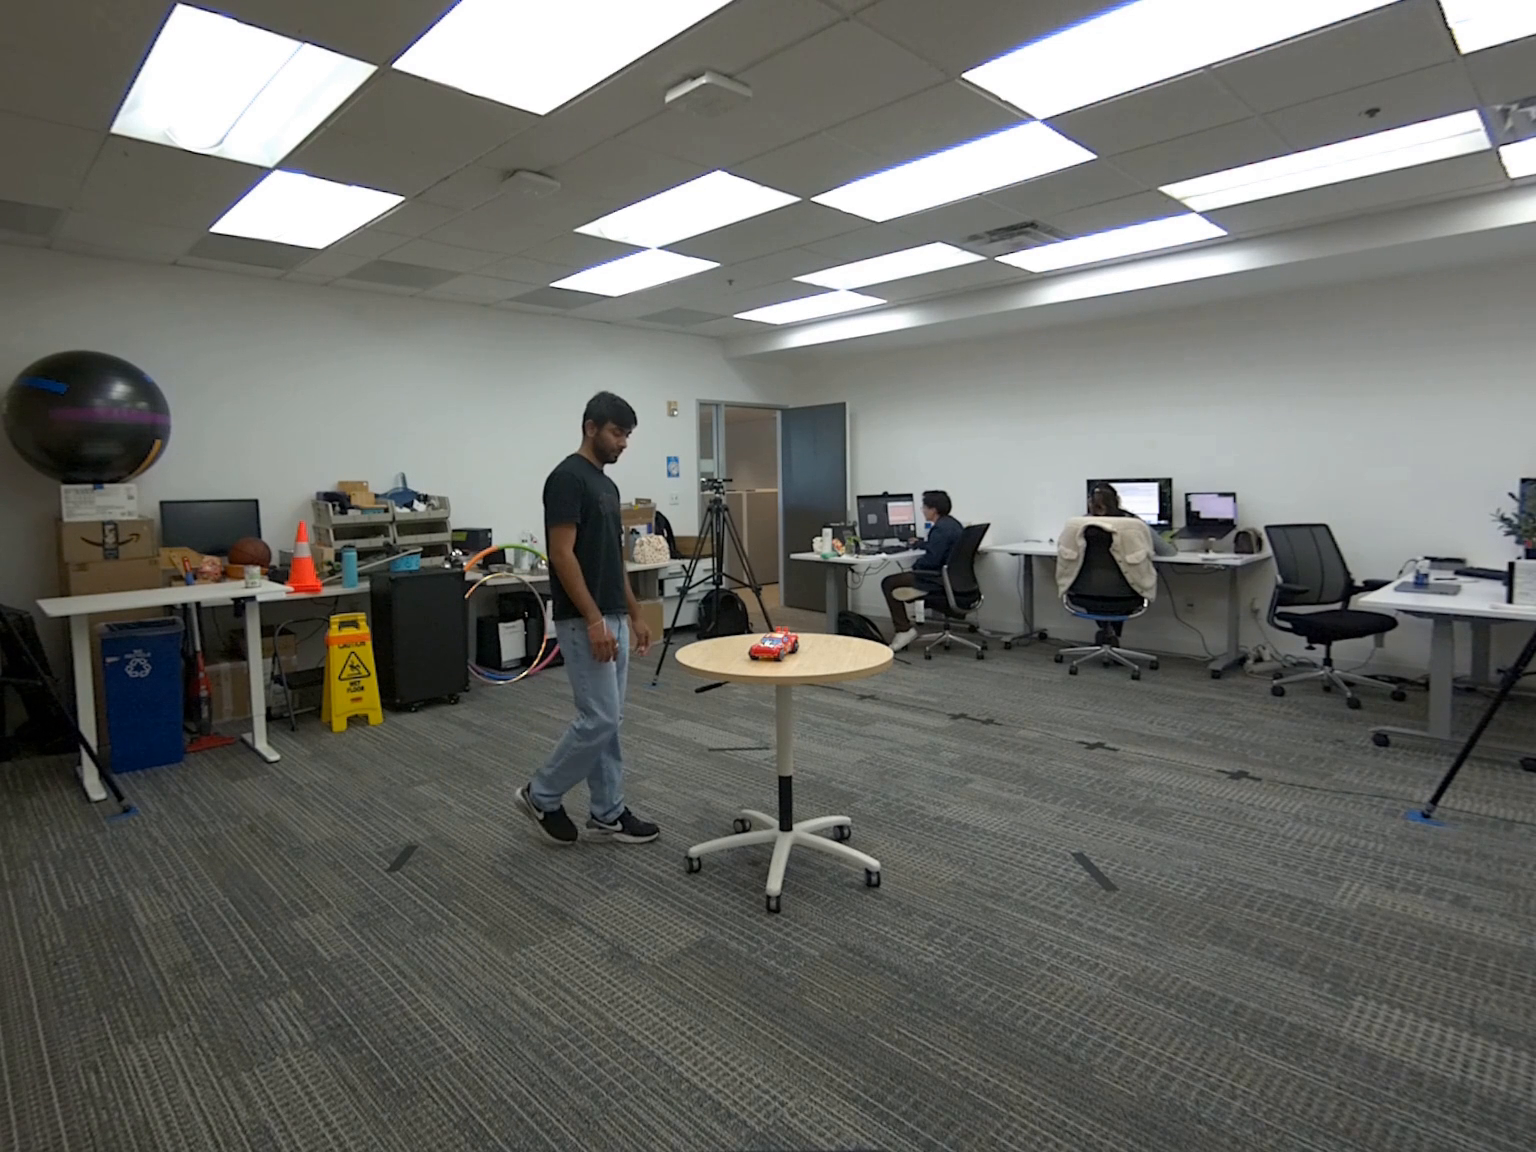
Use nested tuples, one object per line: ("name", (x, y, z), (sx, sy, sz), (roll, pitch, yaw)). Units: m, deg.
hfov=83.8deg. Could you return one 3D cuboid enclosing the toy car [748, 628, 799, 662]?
("toy car", (0.035, 0.244, 2.968), (0.133, 0.082, 0.253), (-1, 16, 21))
